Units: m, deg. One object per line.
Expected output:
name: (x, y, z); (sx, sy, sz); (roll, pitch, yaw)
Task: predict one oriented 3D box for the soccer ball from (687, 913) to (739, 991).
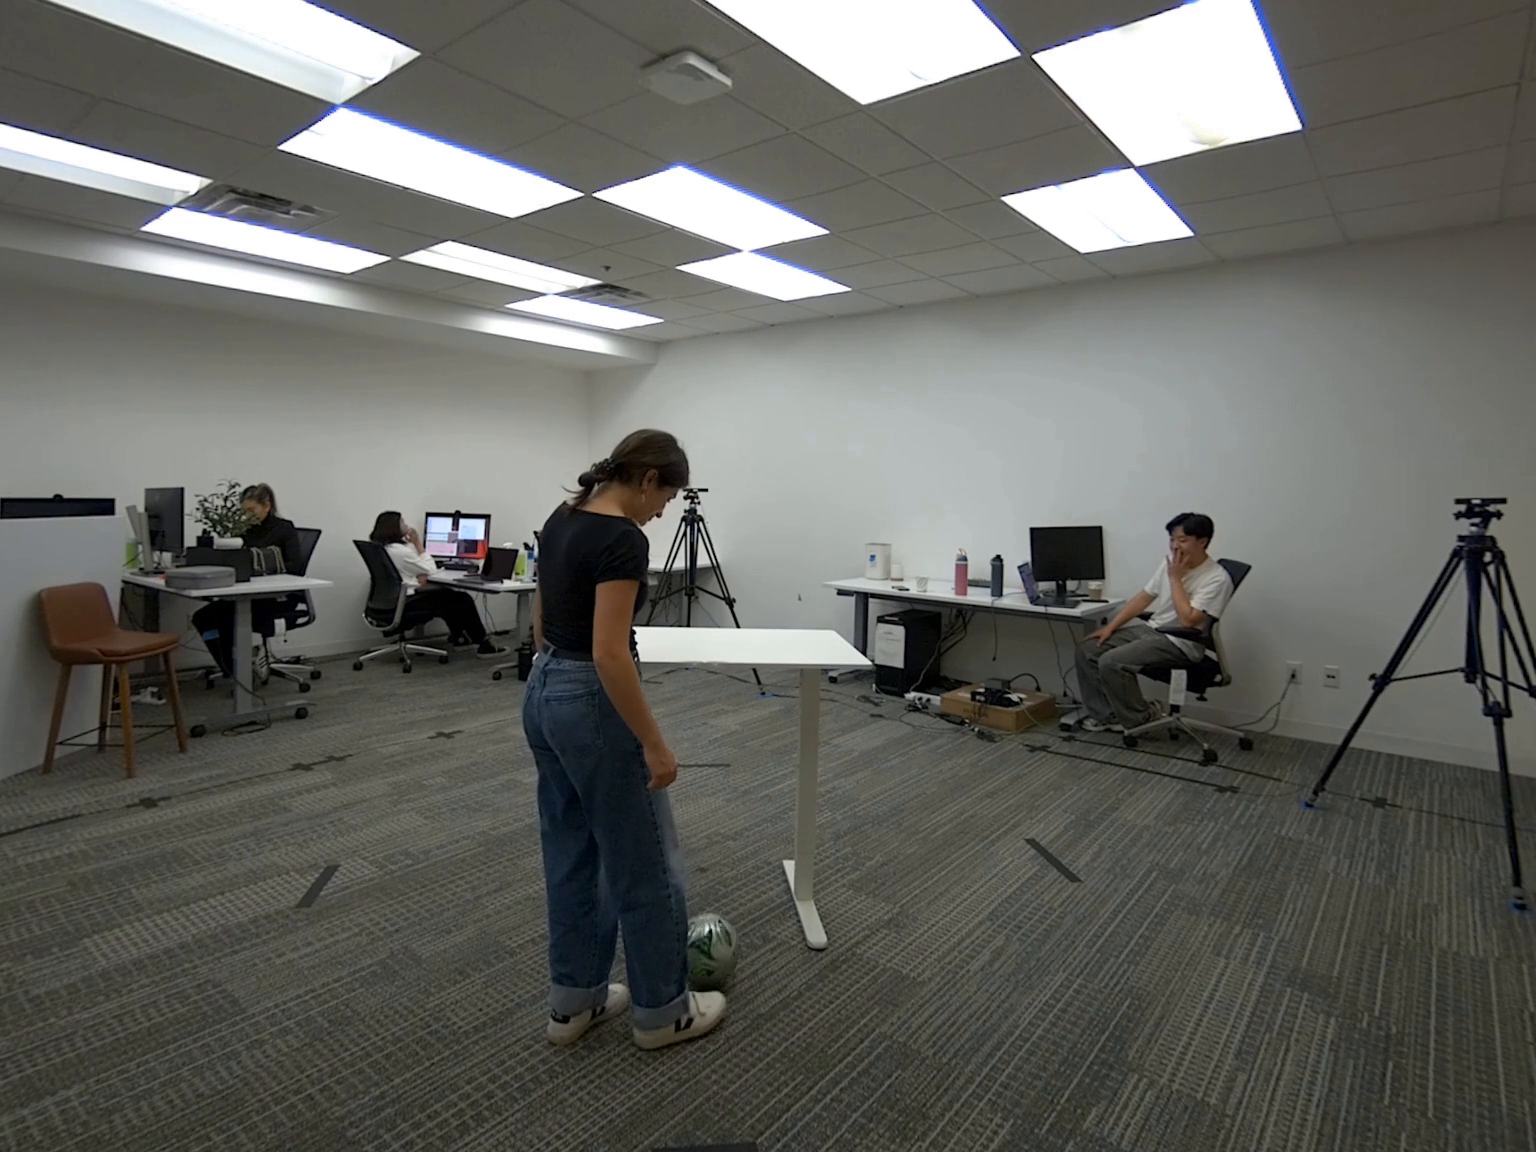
soccer ball: (-0.165, 1.046, 2.392); (0.187, 0.187, 0.188); (1, 4, -2)
